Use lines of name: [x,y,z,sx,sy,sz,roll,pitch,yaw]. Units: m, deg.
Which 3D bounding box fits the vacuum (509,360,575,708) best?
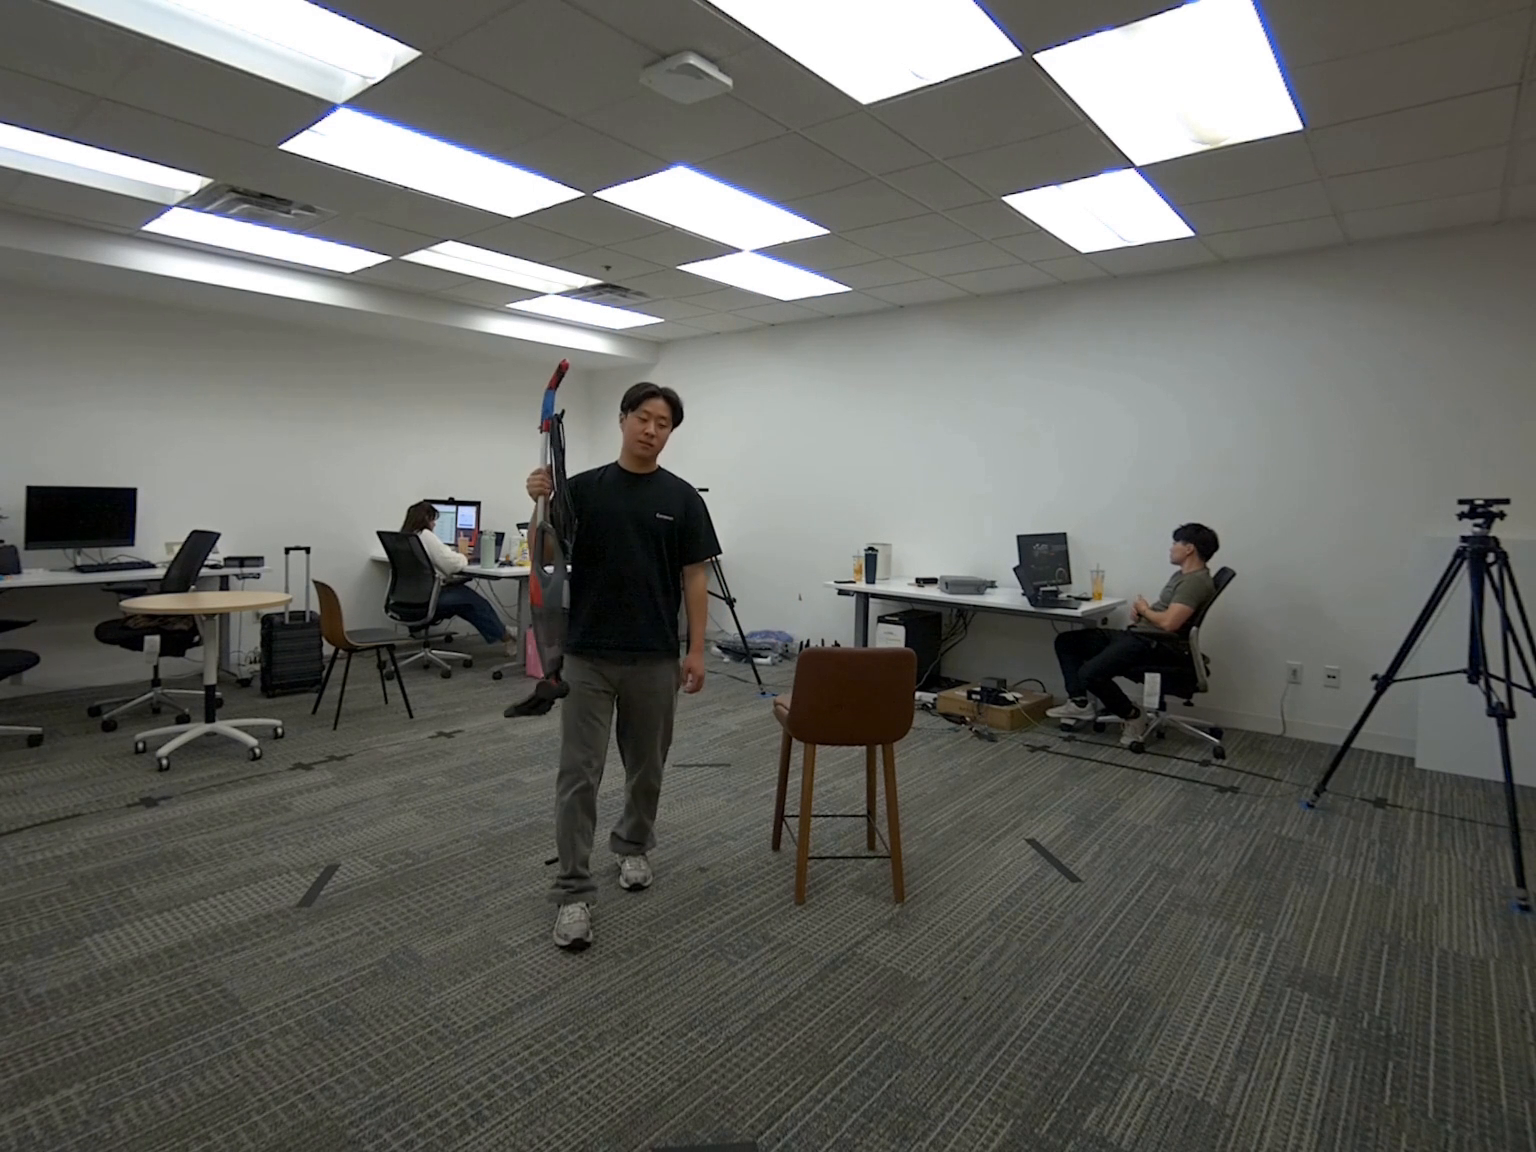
vacuum: [-0.662,-0.161,2.576,0.148,1.058,0.244,-2,-10,27]
